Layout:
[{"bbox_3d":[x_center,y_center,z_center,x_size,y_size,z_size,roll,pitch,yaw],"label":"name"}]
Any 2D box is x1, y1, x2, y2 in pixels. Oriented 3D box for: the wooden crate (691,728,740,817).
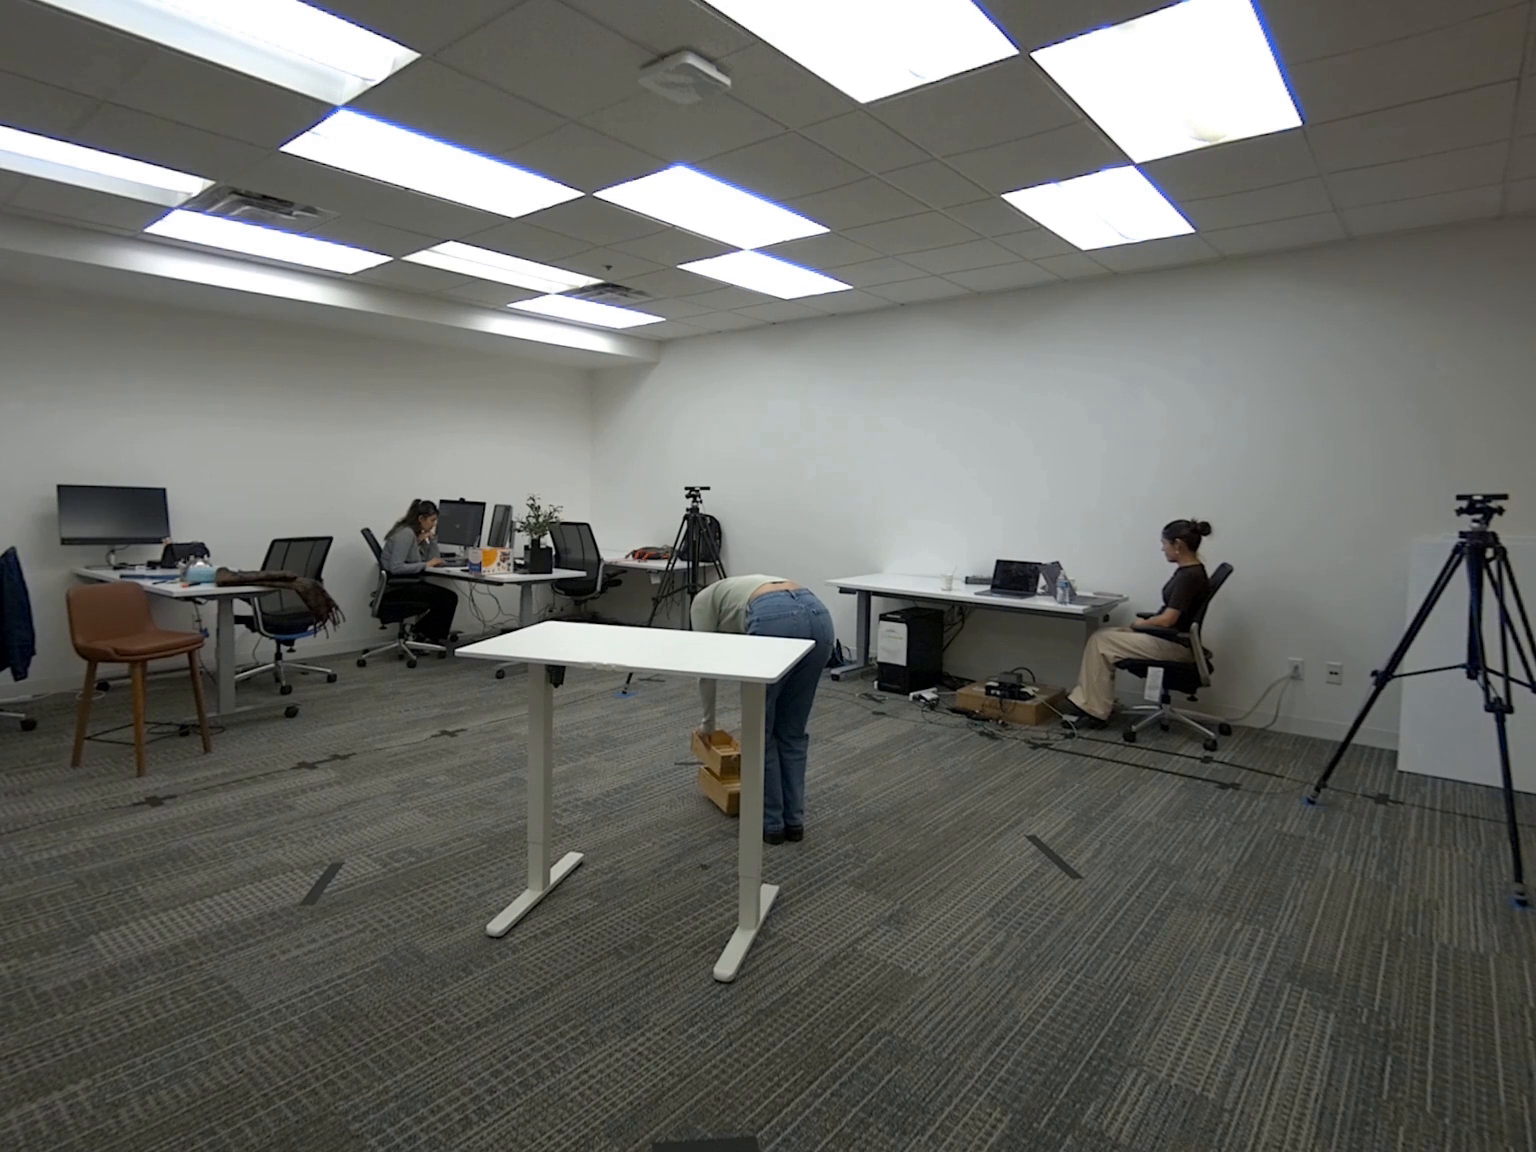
[{"bbox_3d":[-0.151,0.840,3.738,0.294,0.271,0.335,0,9,-28],"label":"wooden crate"}]
